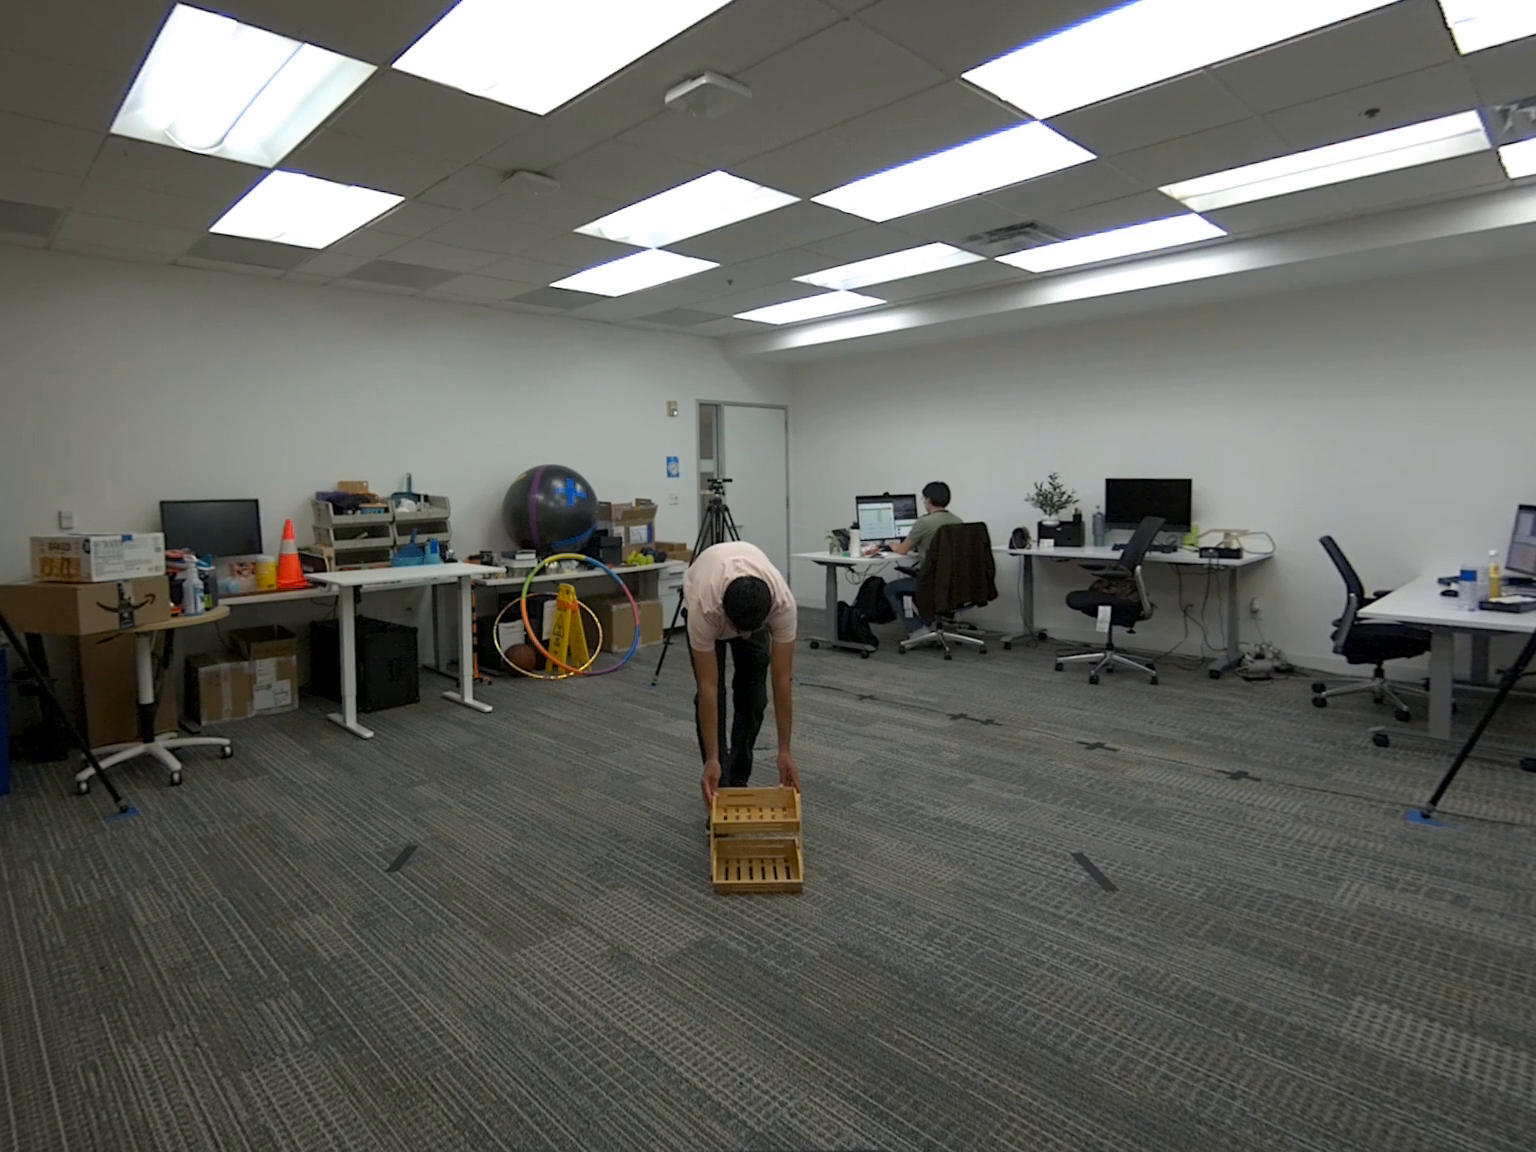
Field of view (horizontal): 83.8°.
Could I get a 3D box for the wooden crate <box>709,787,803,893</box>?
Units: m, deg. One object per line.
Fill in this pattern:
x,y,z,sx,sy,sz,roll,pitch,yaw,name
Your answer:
-0.038,0.926,2.998,0.324,0.272,0.303,-1,5,-1,wooden crate
